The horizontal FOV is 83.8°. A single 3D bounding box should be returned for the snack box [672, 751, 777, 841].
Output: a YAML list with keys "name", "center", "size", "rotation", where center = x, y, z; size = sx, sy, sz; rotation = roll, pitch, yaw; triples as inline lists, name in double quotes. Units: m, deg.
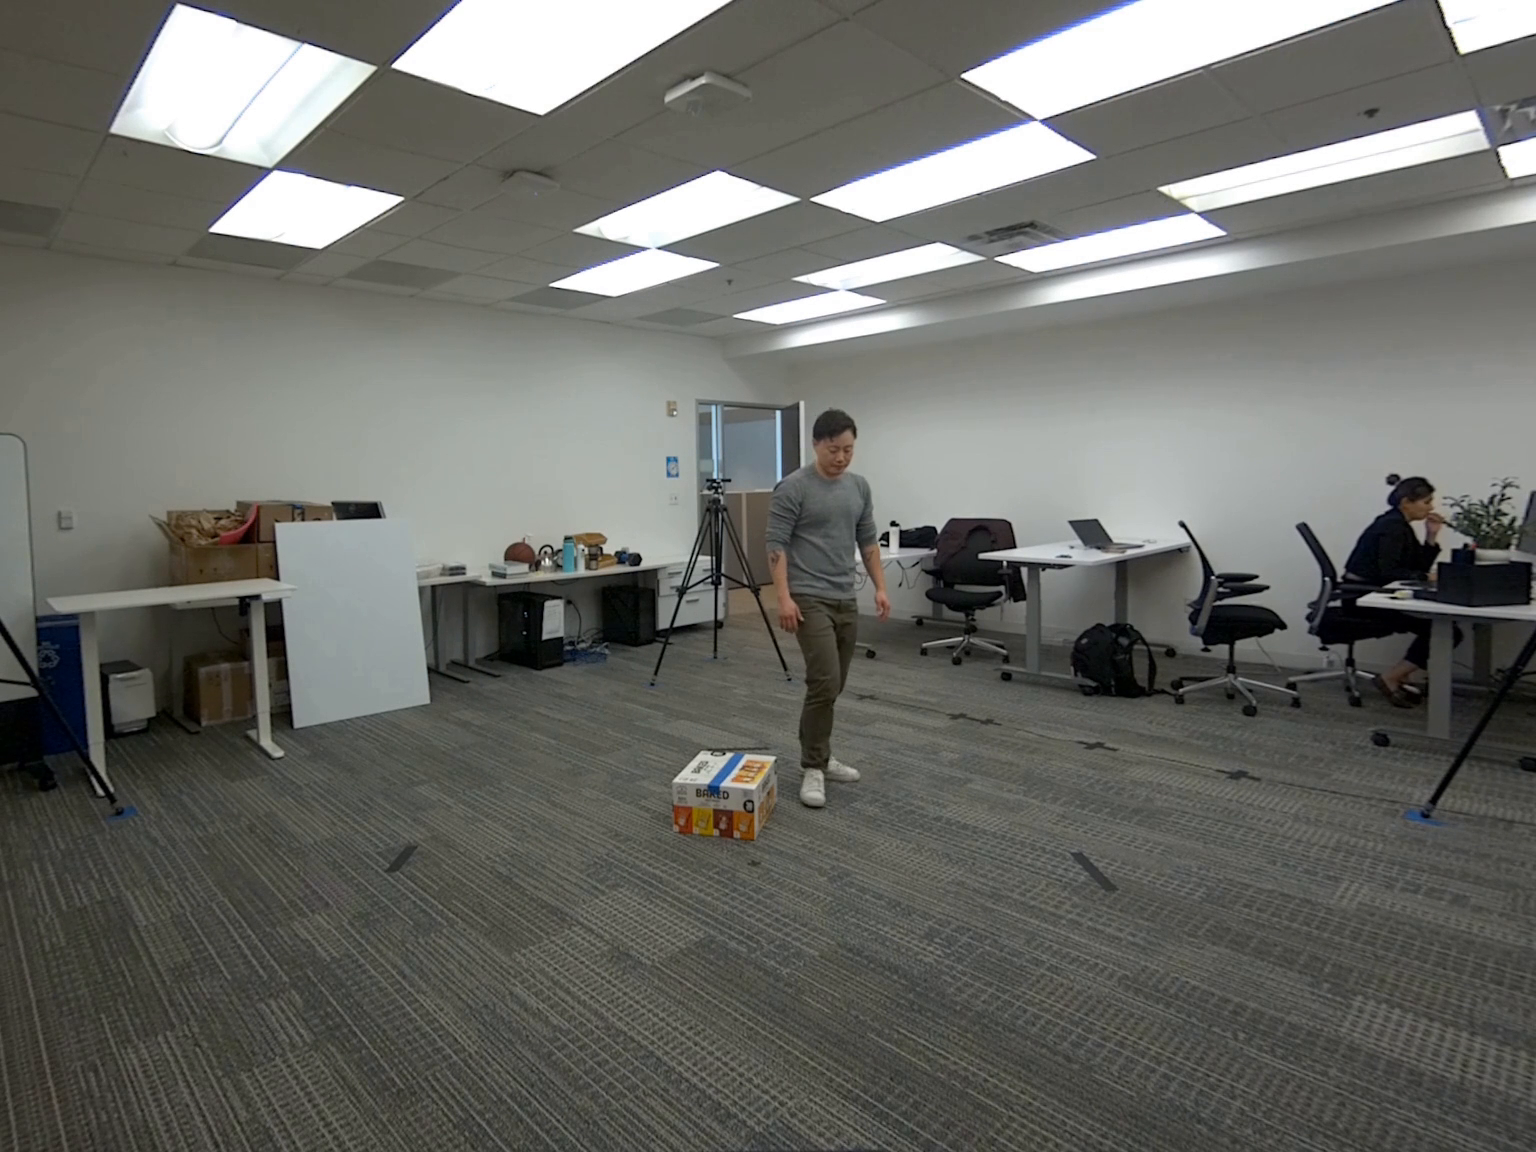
- name: "snack box"
  center: [-0.174, 0.900, 3.537]
  size: [0.345, 0.205, 0.401]
  rotation: [1, 6, 14]
